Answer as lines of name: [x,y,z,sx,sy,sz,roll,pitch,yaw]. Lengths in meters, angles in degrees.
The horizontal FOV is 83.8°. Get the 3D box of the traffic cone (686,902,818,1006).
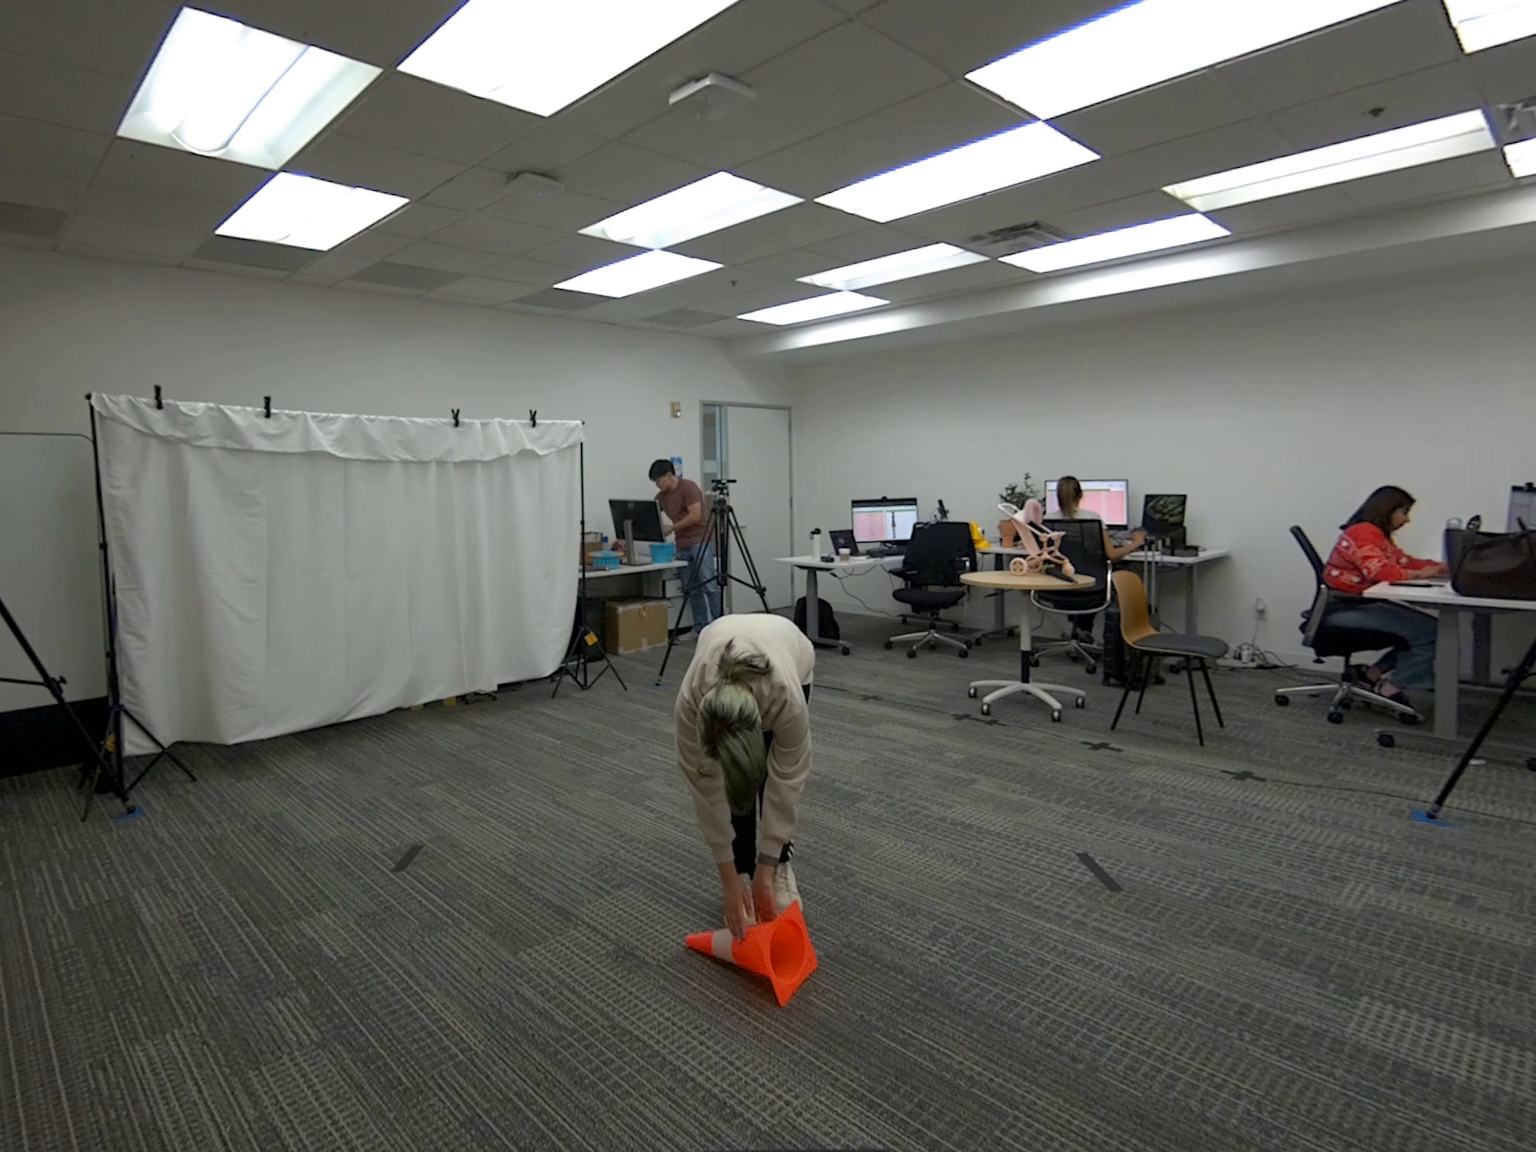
traffic cone: [-0.089,1.071,2.461,0.392,0.203,0.201,-14,4,39]
